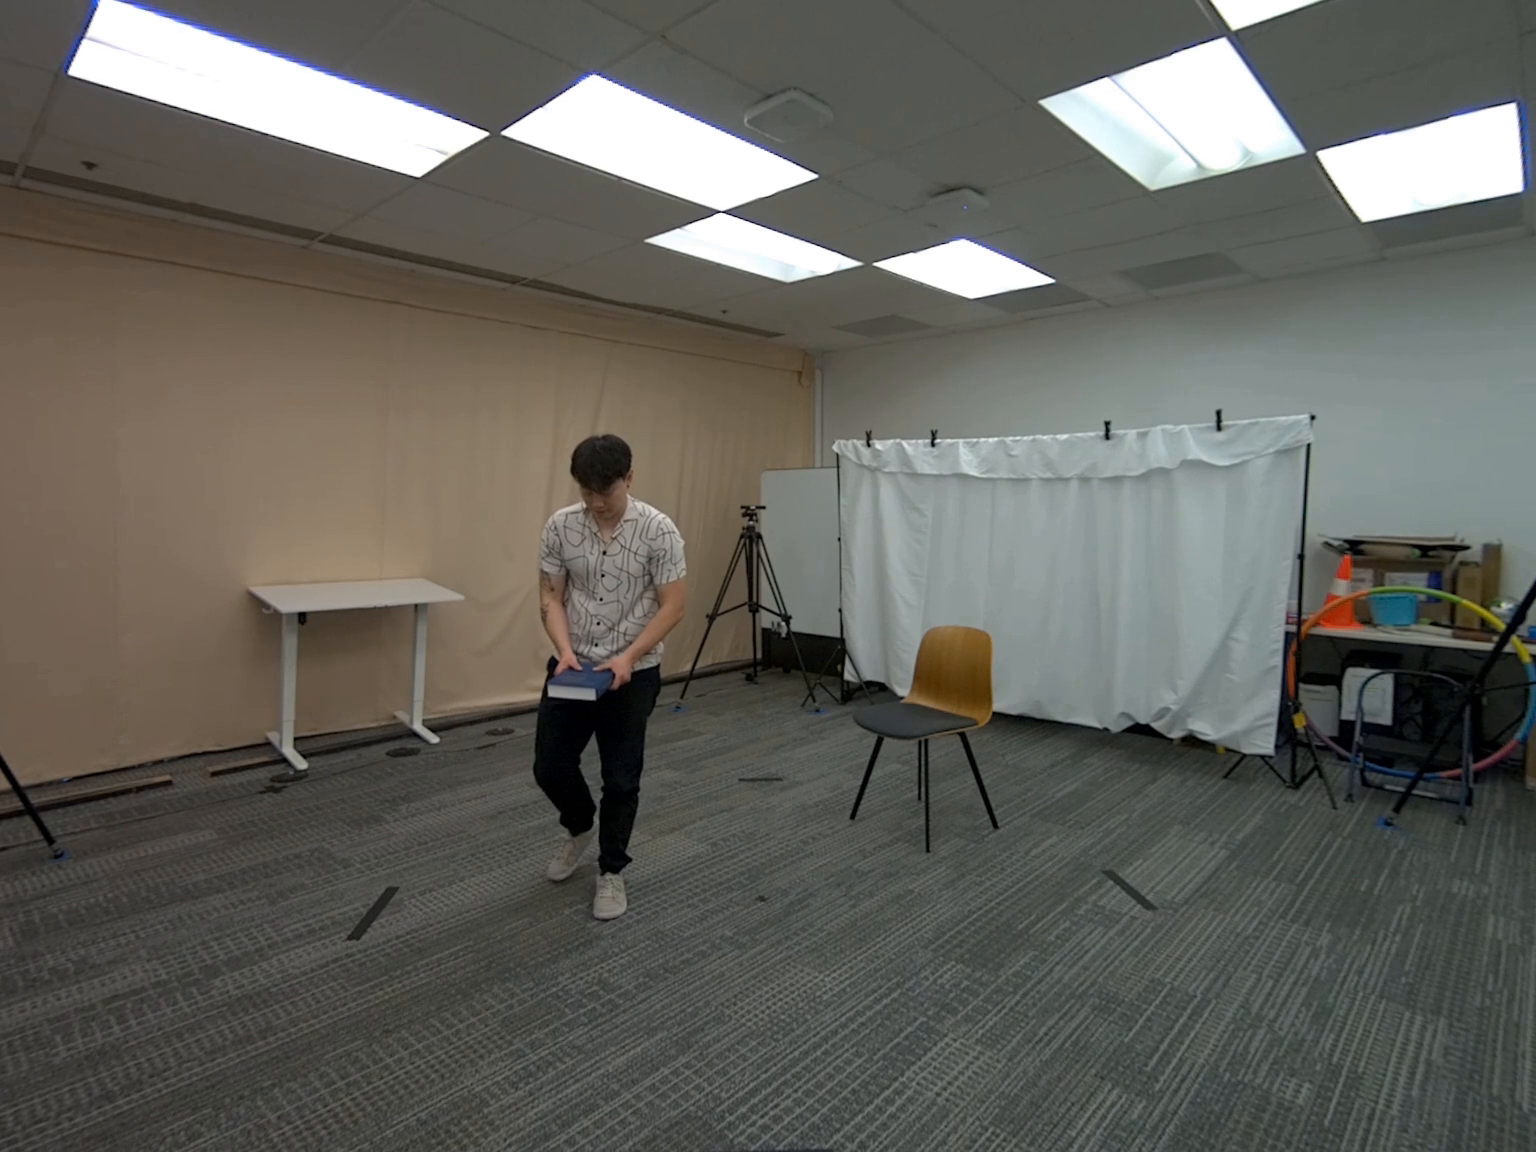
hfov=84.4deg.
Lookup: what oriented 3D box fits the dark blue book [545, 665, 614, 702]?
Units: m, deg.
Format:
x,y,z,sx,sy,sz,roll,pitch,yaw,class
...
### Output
x,y,z,sx,sy,sz,roll,pitch,yaw,class
-0.568,0.338,2.664,0.165,0.045,0.244,1,9,6,dark blue book
